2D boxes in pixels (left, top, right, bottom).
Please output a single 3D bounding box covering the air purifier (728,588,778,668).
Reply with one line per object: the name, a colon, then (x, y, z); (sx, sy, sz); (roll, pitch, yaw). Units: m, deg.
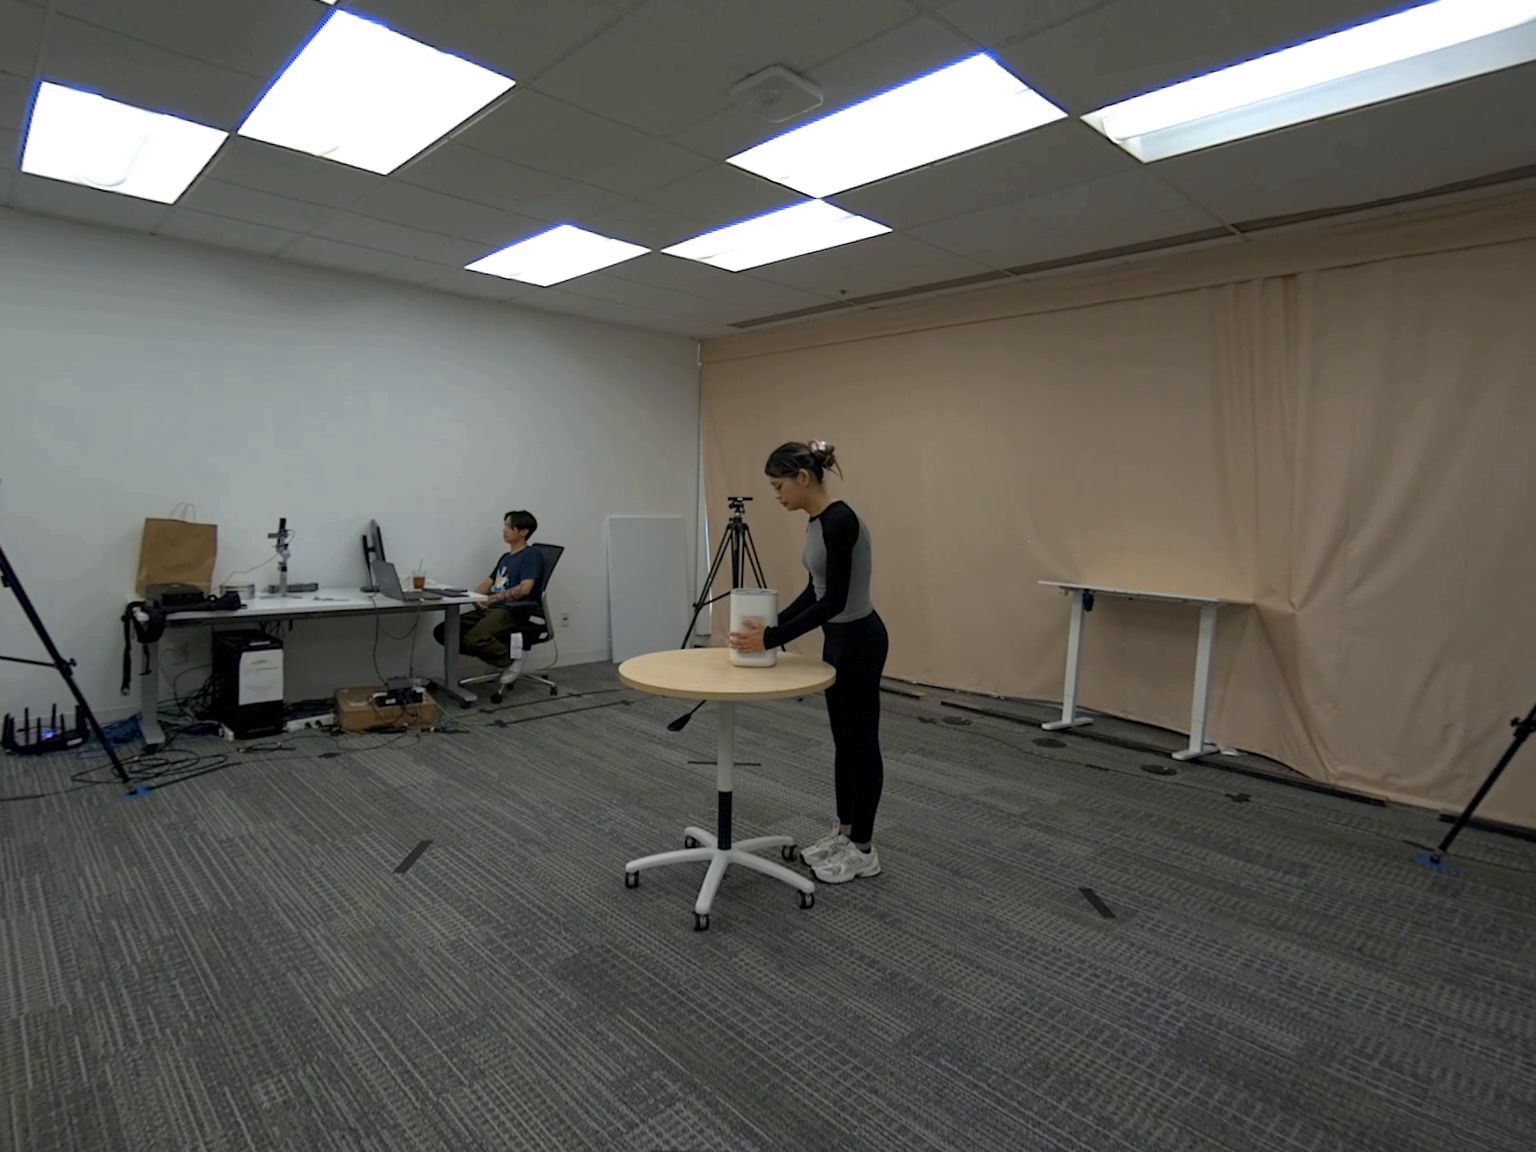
air purifier: (-0.053, 0.187, 3.050); (0.172, 0.265, 0.171); (2, 3, 1)
